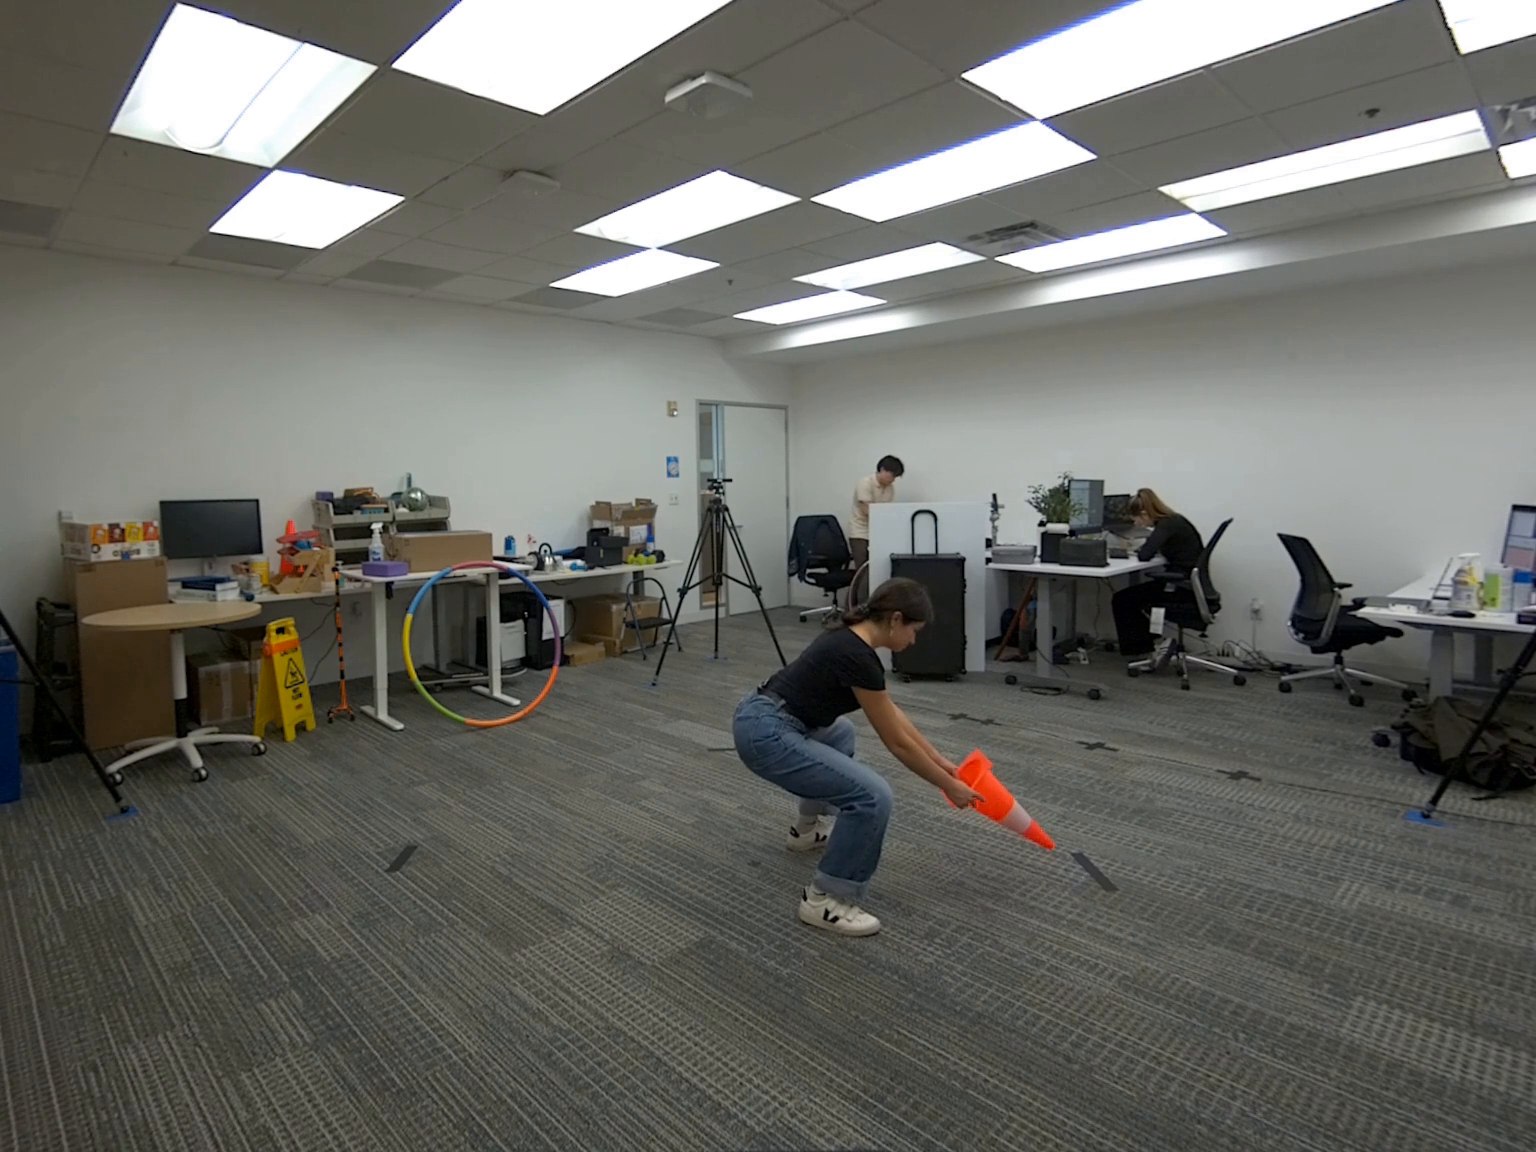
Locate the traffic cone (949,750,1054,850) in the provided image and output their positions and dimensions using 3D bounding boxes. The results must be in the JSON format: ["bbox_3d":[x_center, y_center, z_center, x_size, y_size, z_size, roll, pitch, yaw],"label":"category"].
[{"bbox_3d":[0.816,0.793,2.919,0.382,0.205,0.204,37,-4,-3],"label":"traffic cone"}]
